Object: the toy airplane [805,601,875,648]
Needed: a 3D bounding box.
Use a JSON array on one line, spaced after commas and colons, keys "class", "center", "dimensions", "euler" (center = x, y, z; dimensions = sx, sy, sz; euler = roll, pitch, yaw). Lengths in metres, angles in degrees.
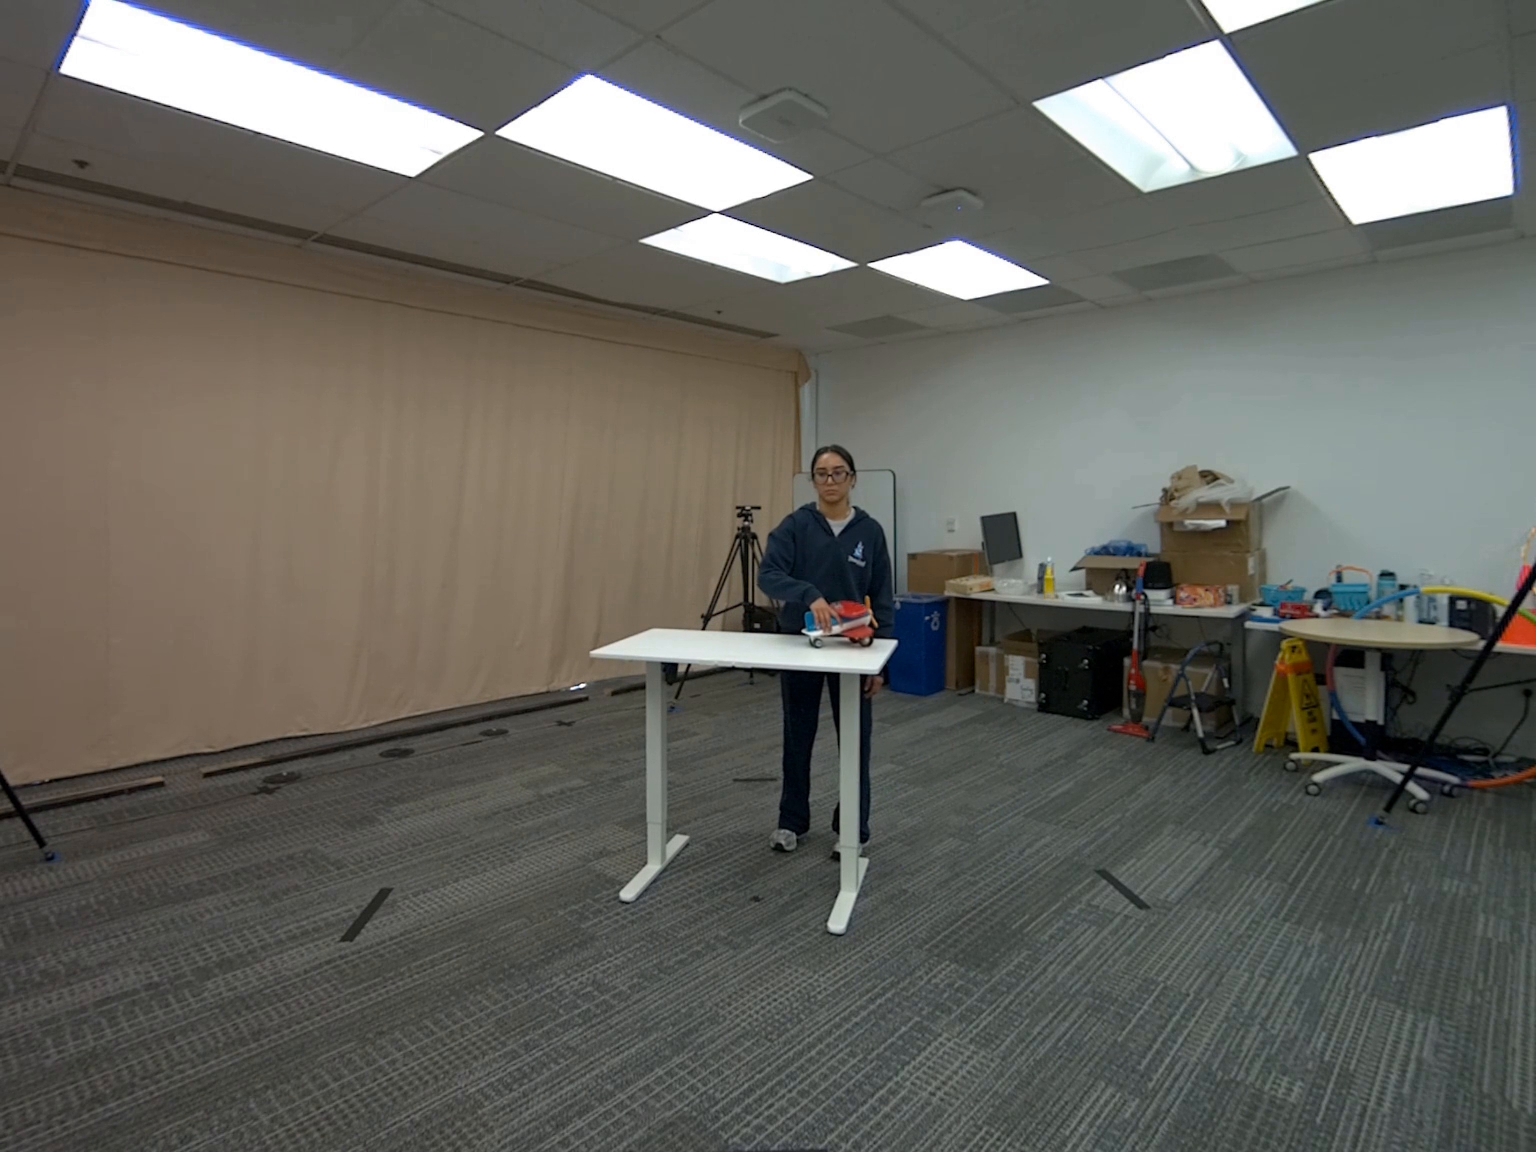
[{"class": "toy airplane", "center": [0.279, 0.176, 3.049], "dimensions": [0.251, 0.156, 0.259], "euler": [-4, 5, -43]}]
